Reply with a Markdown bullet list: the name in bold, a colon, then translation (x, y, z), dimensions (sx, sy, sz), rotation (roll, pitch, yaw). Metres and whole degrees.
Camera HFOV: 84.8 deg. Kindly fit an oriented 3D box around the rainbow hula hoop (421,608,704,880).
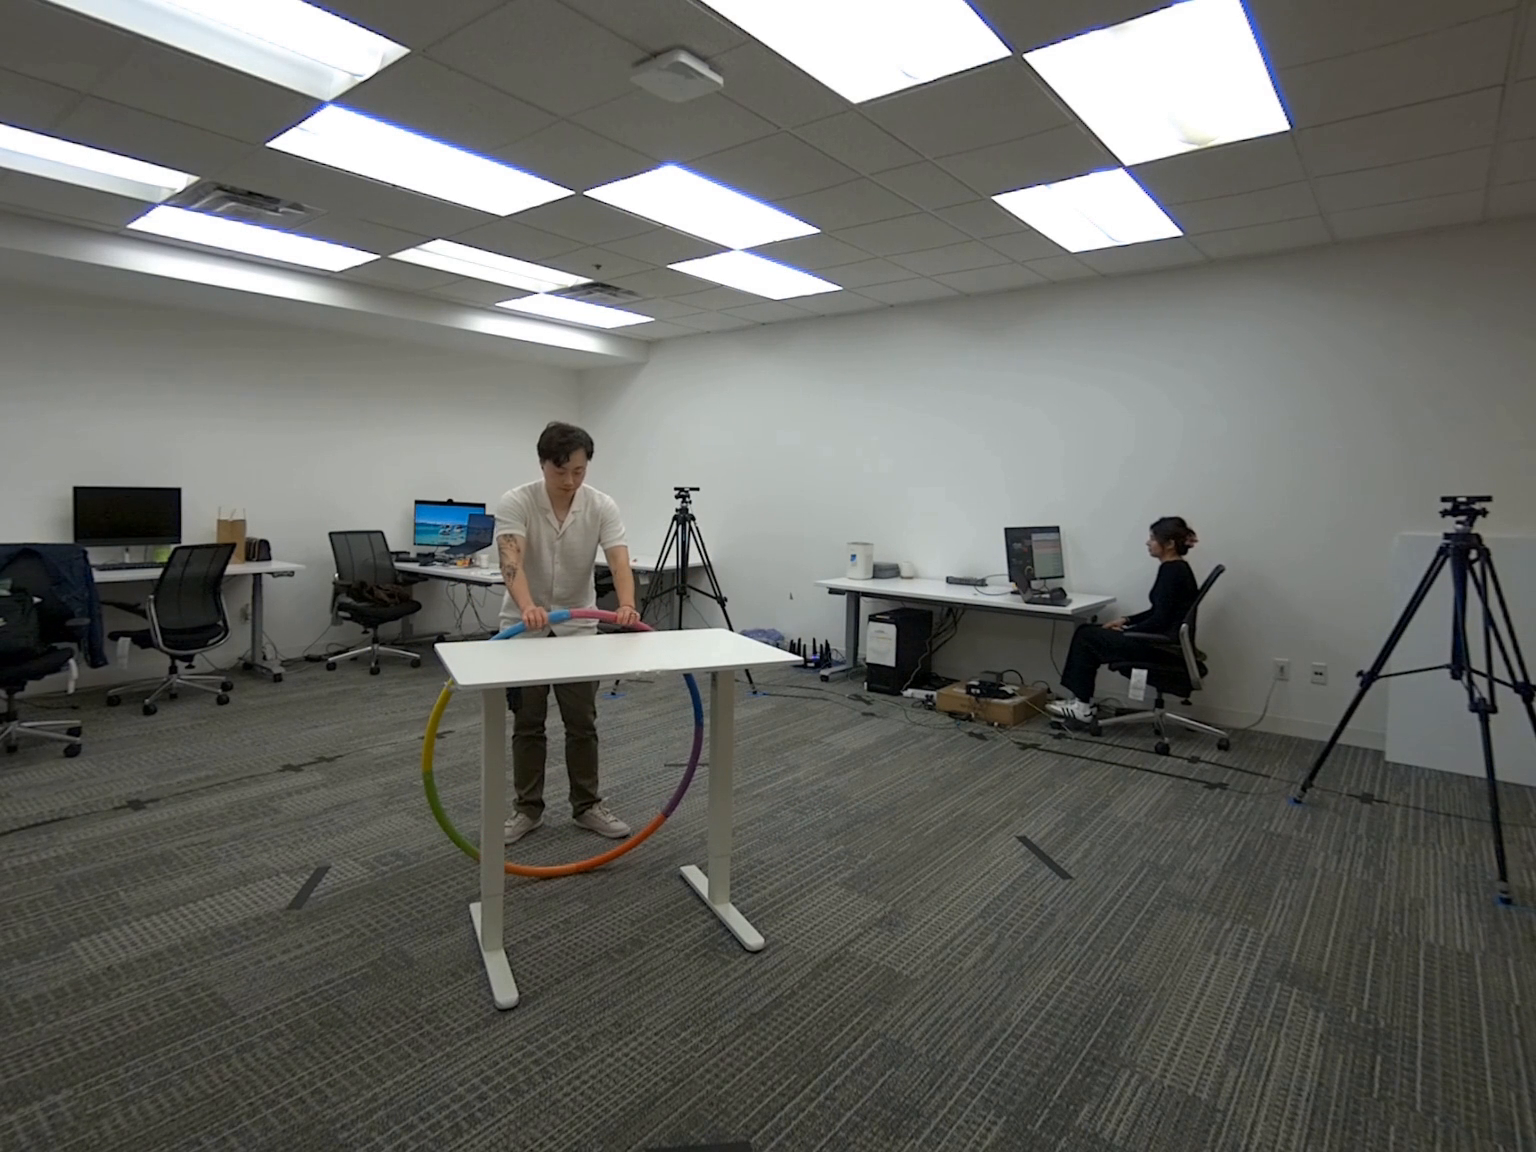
- **rainbow hula hoop**: translation (-0.704, 0.583, 2.984), dimensions (0.956, 0.972, 0.036), rotation (-1, 8, -24)
